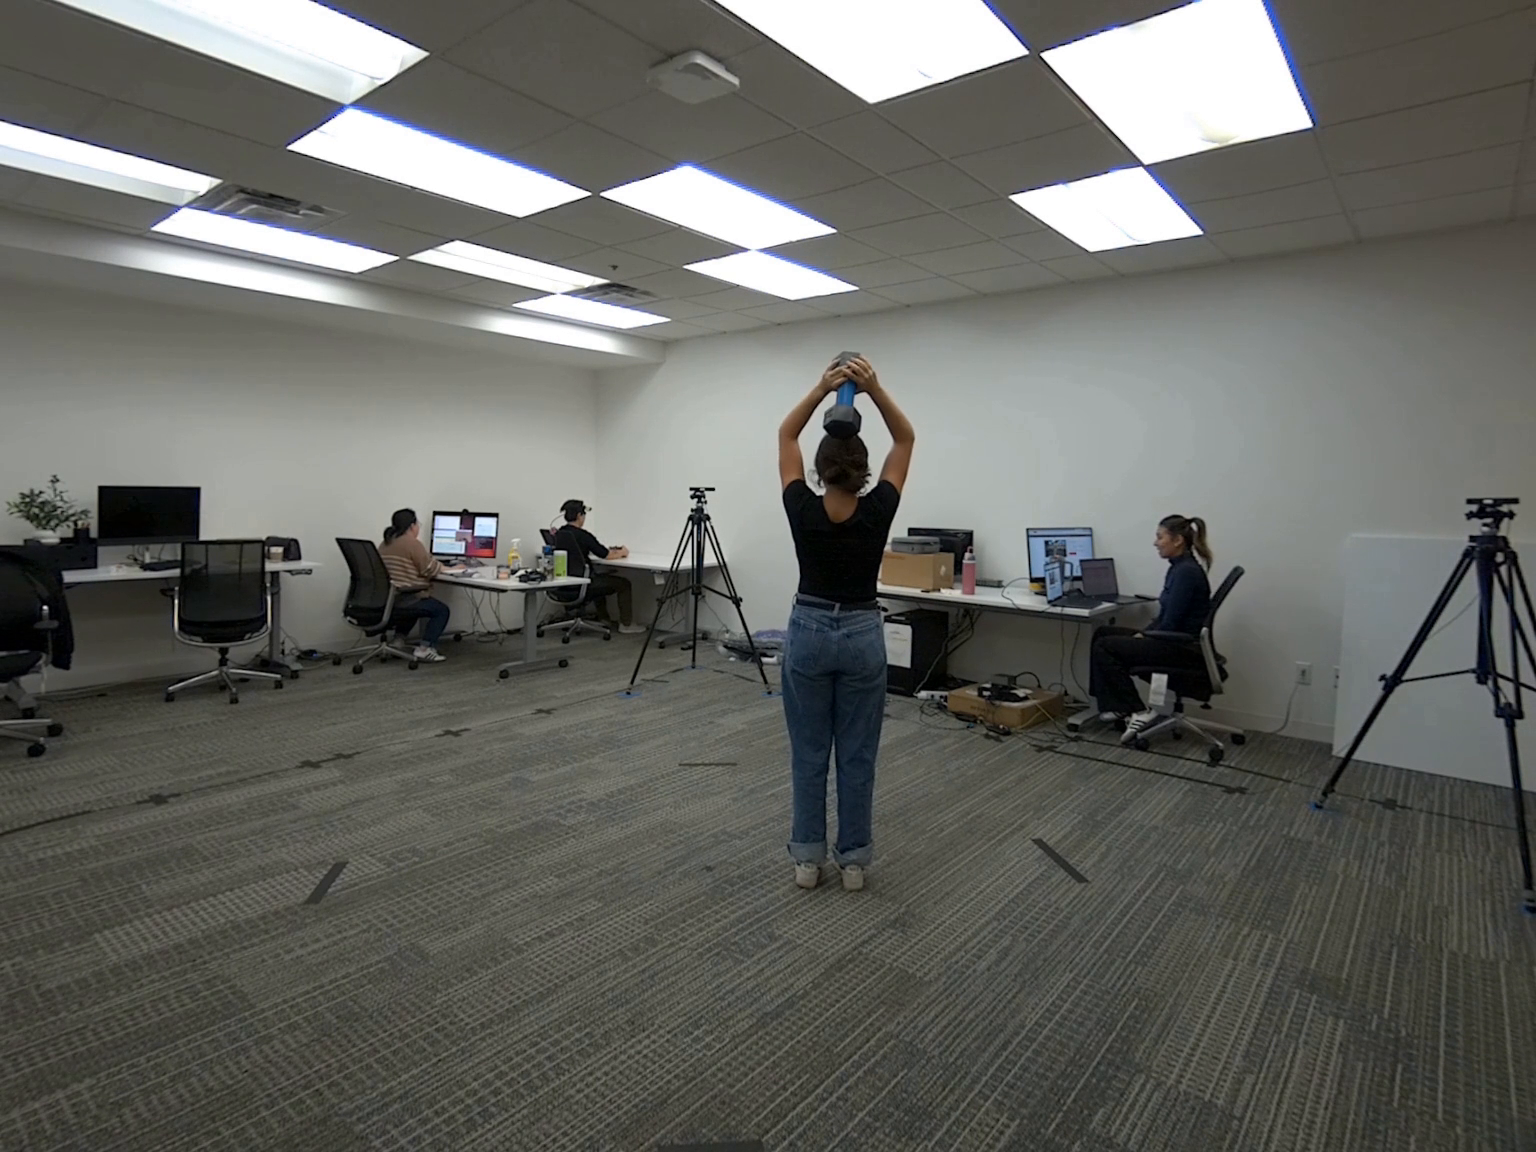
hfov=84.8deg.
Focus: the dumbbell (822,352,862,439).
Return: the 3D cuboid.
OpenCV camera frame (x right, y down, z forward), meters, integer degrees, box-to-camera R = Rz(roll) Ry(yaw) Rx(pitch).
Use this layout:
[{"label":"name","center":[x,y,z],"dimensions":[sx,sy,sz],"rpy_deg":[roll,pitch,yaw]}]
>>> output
[{"label":"dumbbell","center":[0.251,-0.600,2.827],"dimensions":[0.111,0.298,0.118],"rpy_deg":[-6,-30,33]}]
